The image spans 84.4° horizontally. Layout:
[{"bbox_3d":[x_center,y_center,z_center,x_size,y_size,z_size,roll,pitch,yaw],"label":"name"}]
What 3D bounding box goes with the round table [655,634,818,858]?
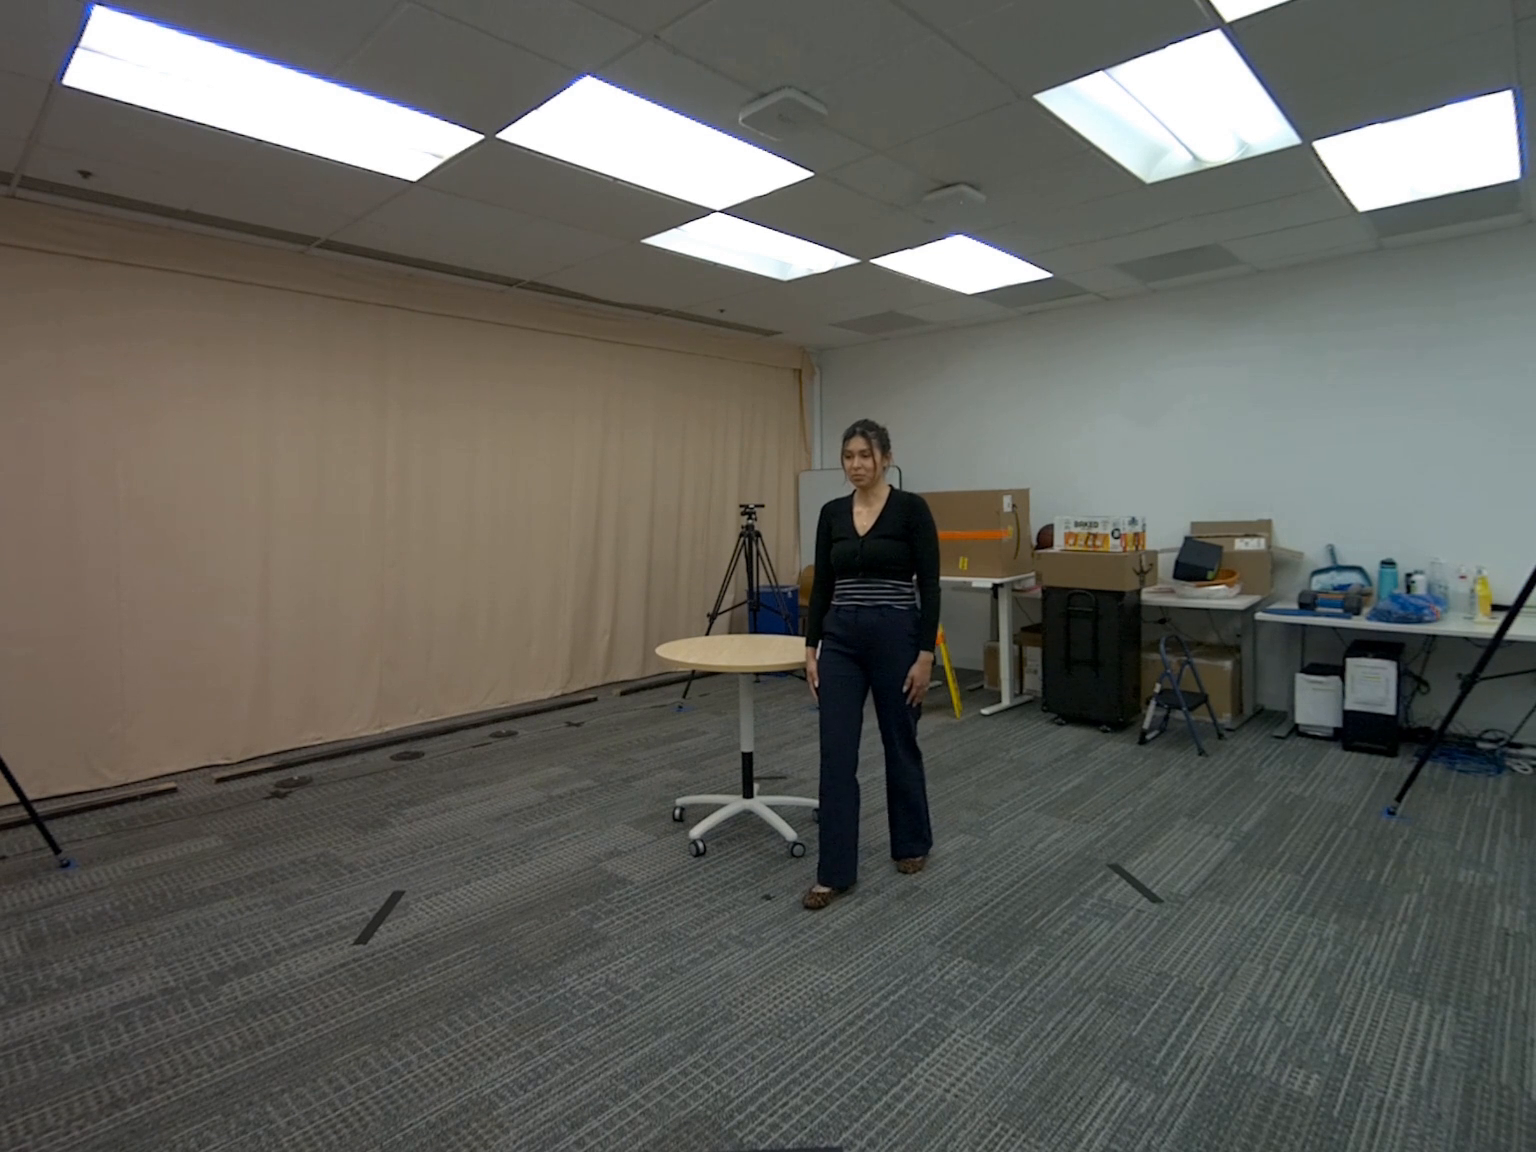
[{"bbox_3d":[-0.090,0.698,3.594,0.763,0.792,0.766,-1,3,-2],"label":"round table"}]
